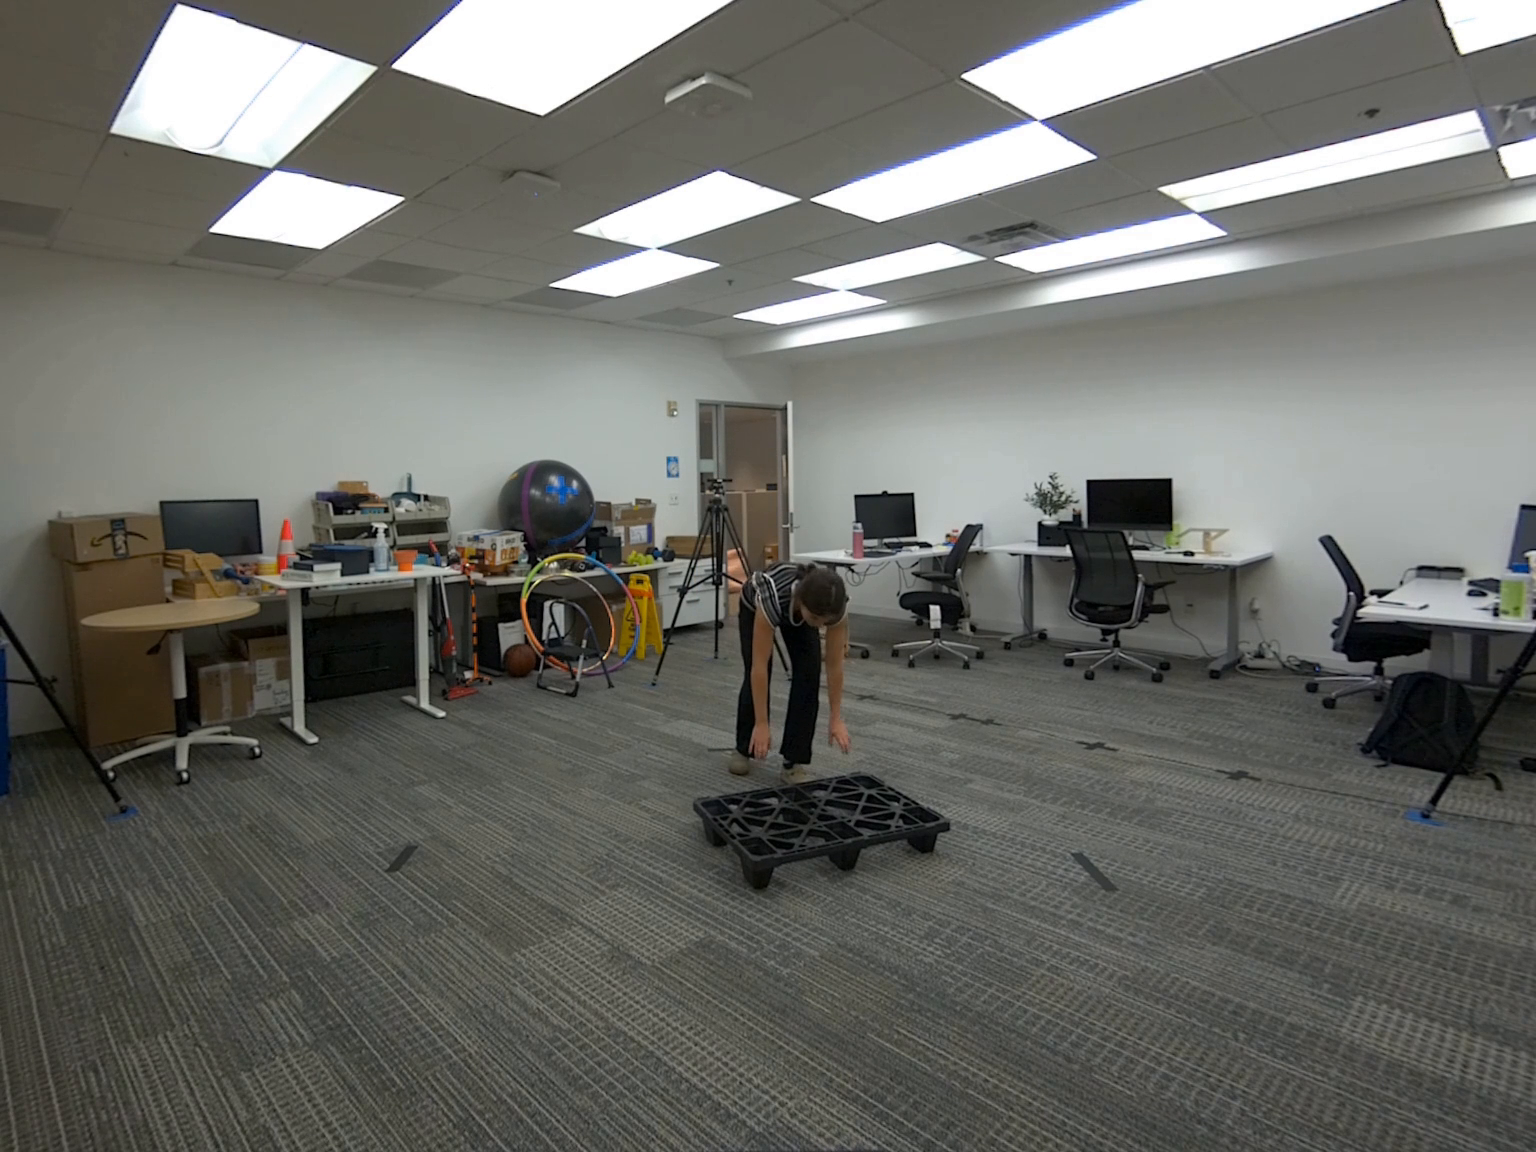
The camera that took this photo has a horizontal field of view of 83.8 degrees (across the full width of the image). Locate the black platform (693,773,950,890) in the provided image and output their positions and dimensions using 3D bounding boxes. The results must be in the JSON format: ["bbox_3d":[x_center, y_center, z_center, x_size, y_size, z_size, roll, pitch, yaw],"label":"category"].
[{"bbox_3d":[0.192,0.957,3.253,0.790,0.142,0.620,-4,8,-23],"label":"black platform"}]
